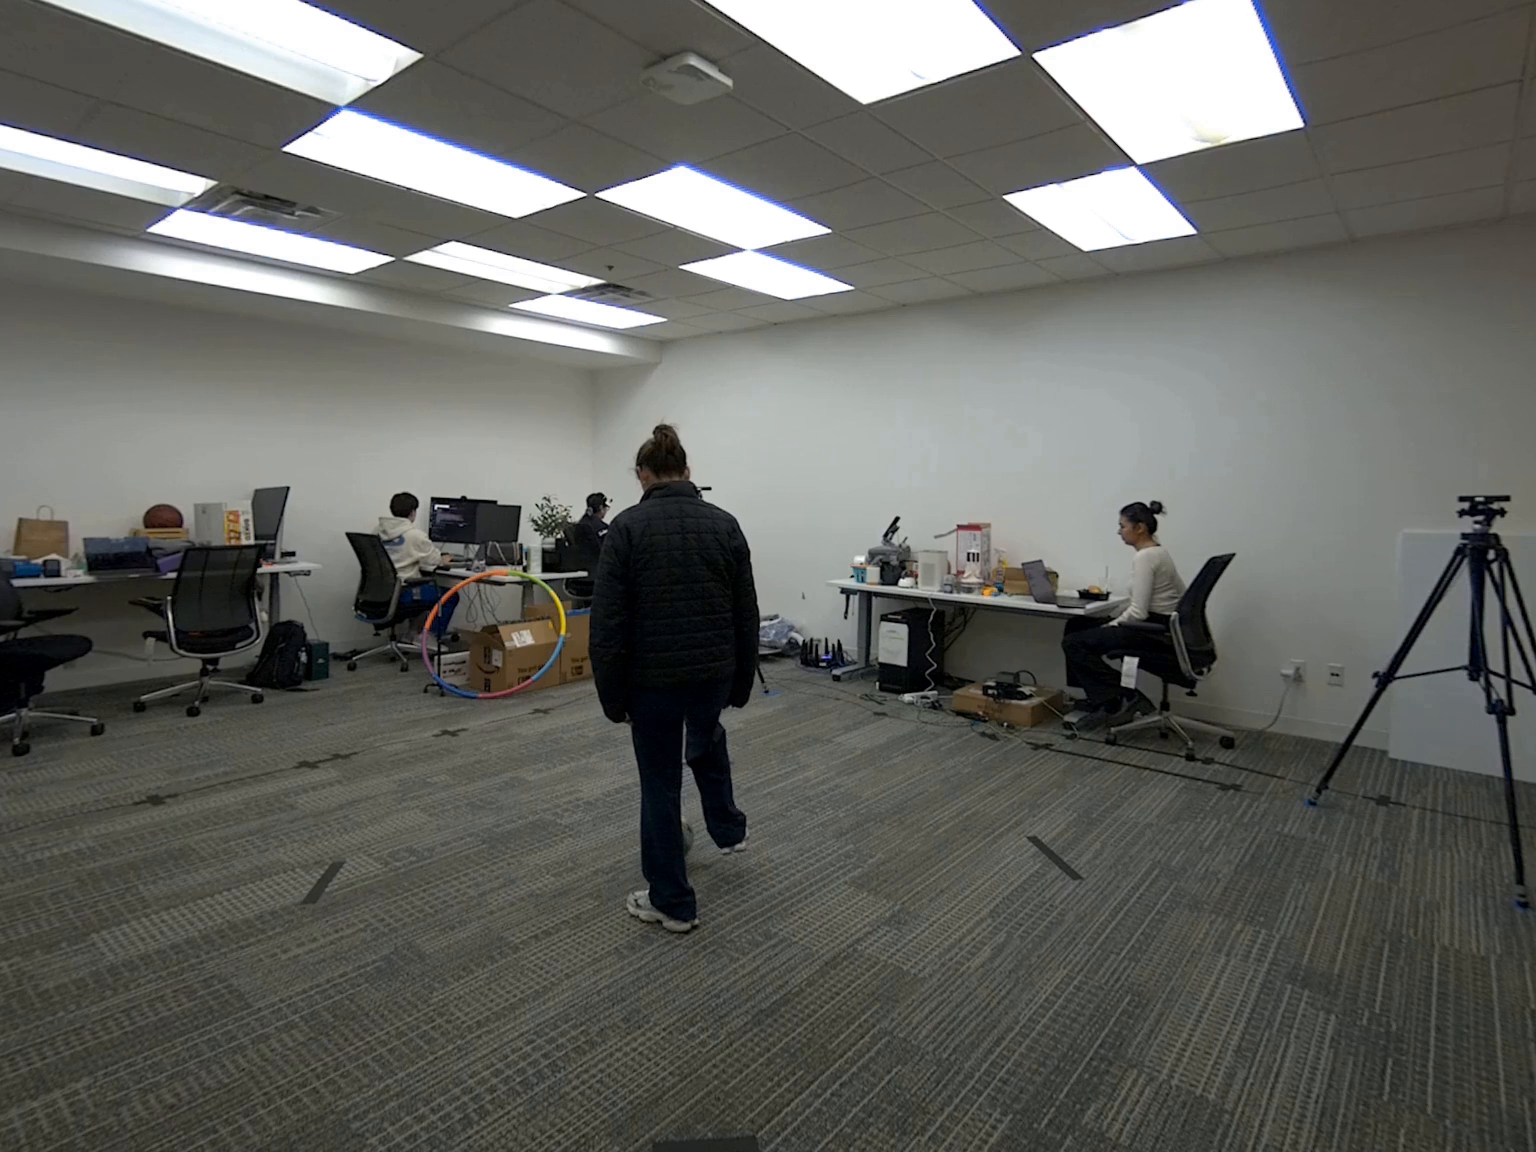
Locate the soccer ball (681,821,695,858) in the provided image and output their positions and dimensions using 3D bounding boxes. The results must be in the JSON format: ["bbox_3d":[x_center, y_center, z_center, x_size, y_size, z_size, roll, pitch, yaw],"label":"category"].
[{"bbox_3d":[-0.376,0.961,3.147,0.187,0.187,0.188,1,4,-2],"label":"soccer ball"}]
